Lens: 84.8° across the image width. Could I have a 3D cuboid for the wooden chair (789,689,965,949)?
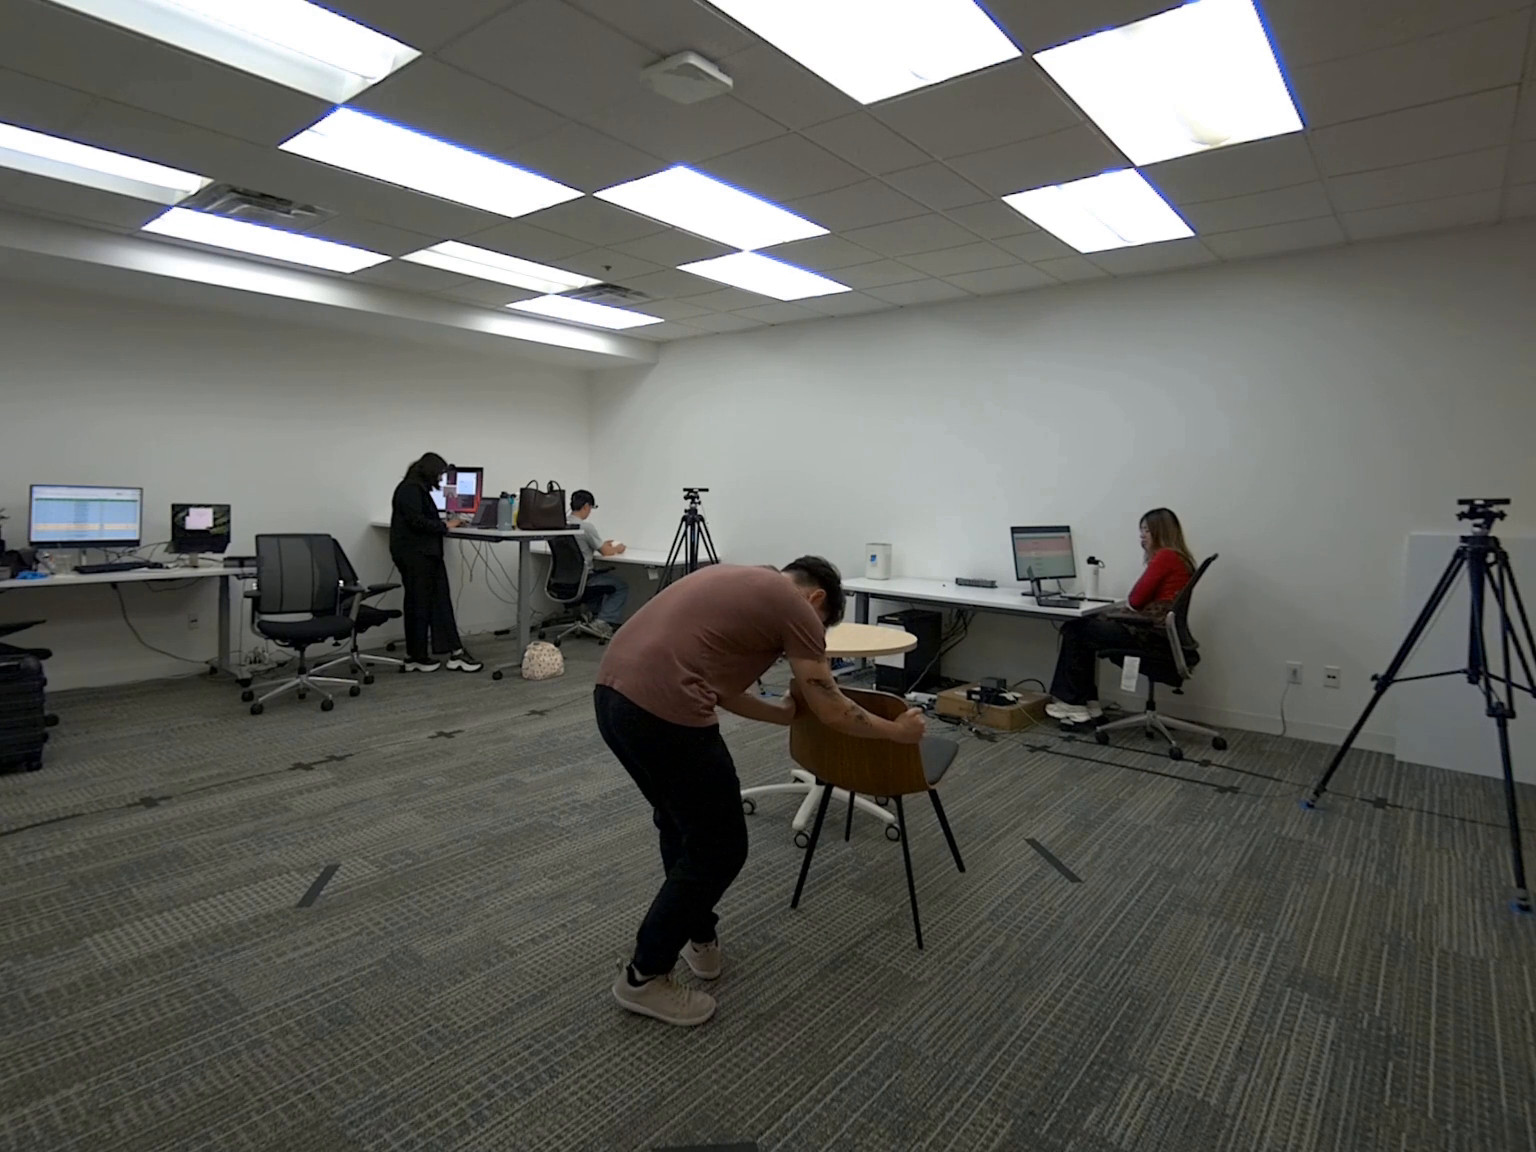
[{"bbox_3d":[0.351,0.648,2.817,0.493,0.863,0.516,4,19,31],"label":"wooden chair"}]
